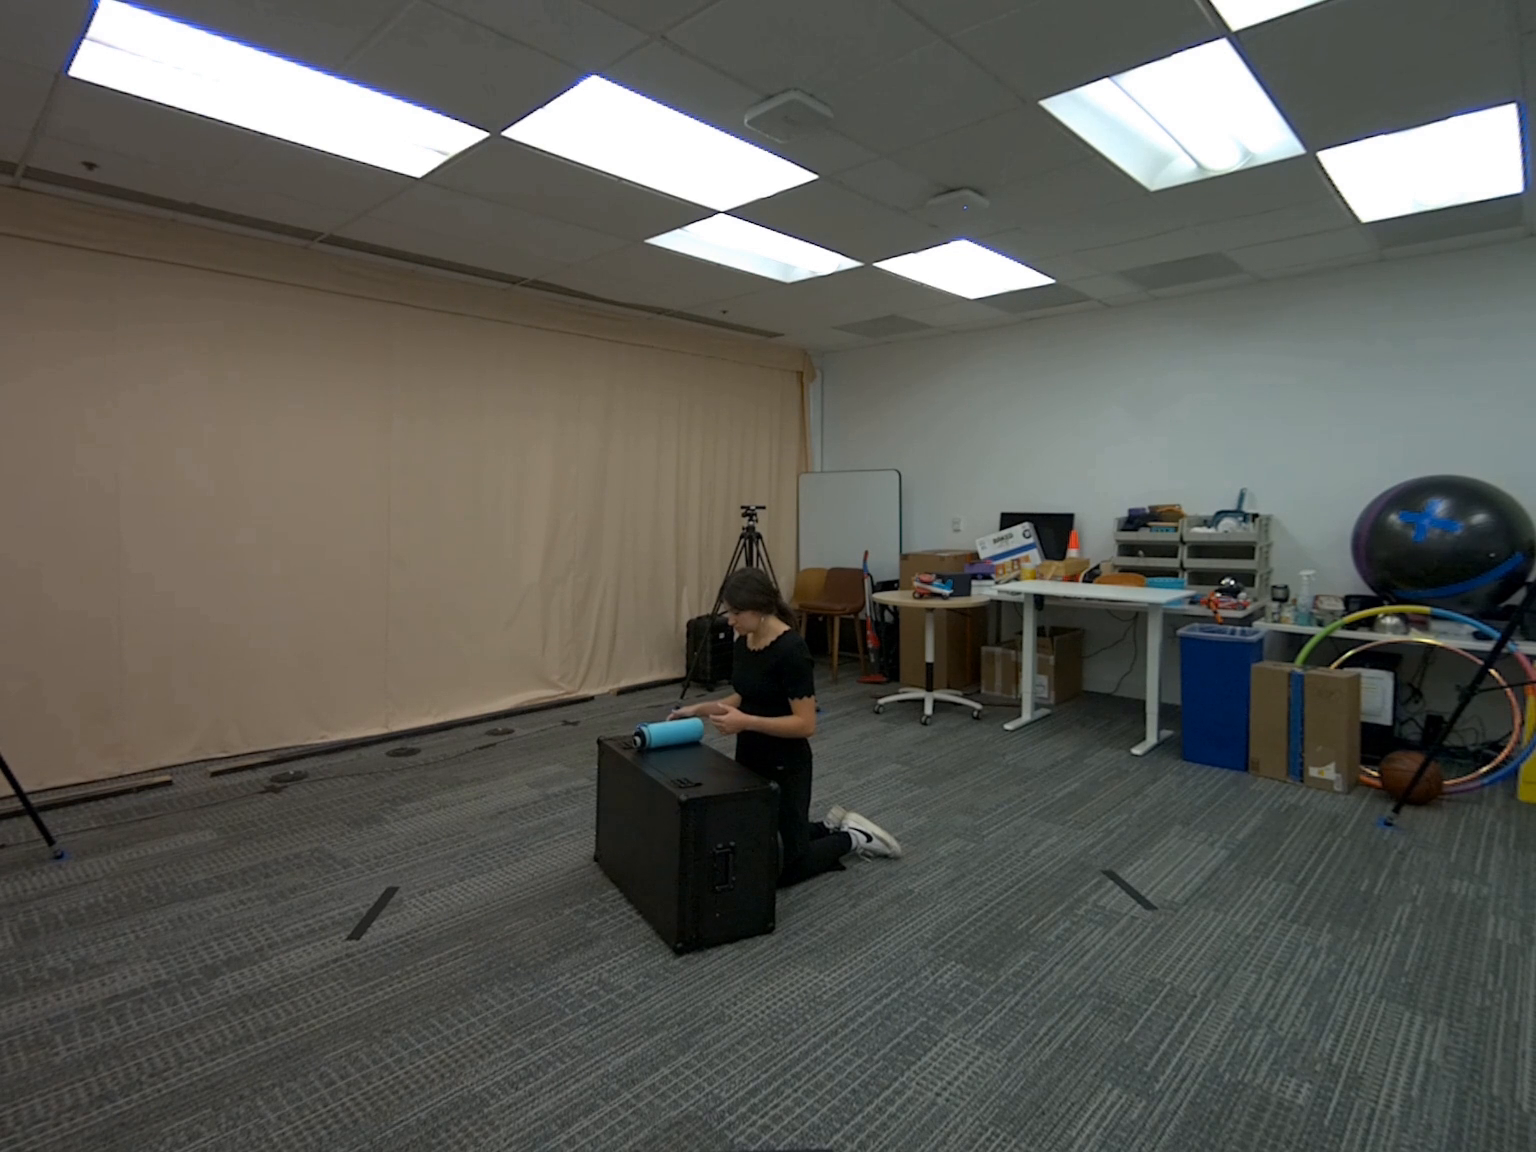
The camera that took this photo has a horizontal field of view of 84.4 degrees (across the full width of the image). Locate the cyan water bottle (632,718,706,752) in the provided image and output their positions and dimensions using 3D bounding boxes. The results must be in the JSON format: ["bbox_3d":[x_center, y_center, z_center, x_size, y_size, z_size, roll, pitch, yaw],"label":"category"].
[{"bbox_3d":[-0.379,0.599,3.181,0.275,0.092,0.095,-1,4,-30],"label":"cyan water bottle"}]
